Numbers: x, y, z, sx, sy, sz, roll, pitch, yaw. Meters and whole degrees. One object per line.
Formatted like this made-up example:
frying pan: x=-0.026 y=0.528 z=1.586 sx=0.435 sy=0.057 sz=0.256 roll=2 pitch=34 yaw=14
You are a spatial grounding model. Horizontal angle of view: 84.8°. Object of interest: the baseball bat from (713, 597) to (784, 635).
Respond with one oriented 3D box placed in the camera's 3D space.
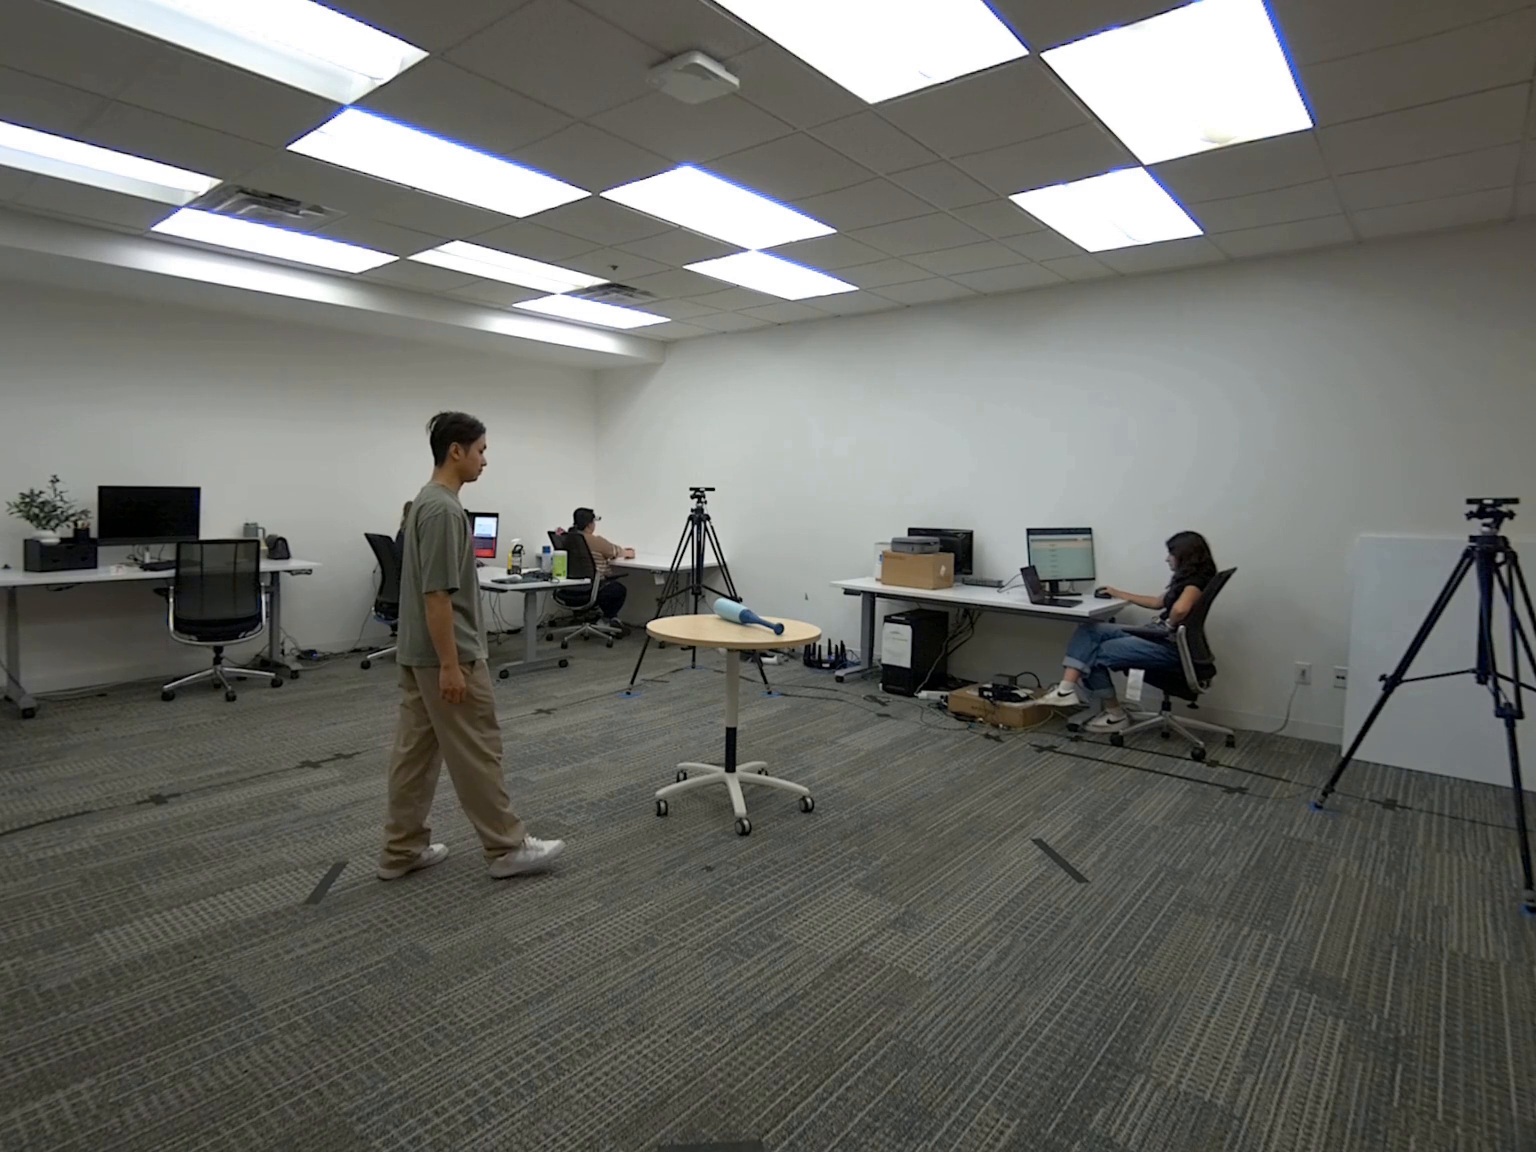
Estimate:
baseball bat: x=-0.108 y=0.181 z=3.780 sx=0.087 sy=0.088 sz=0.561 roll=-1 pitch=9 yaw=-29
